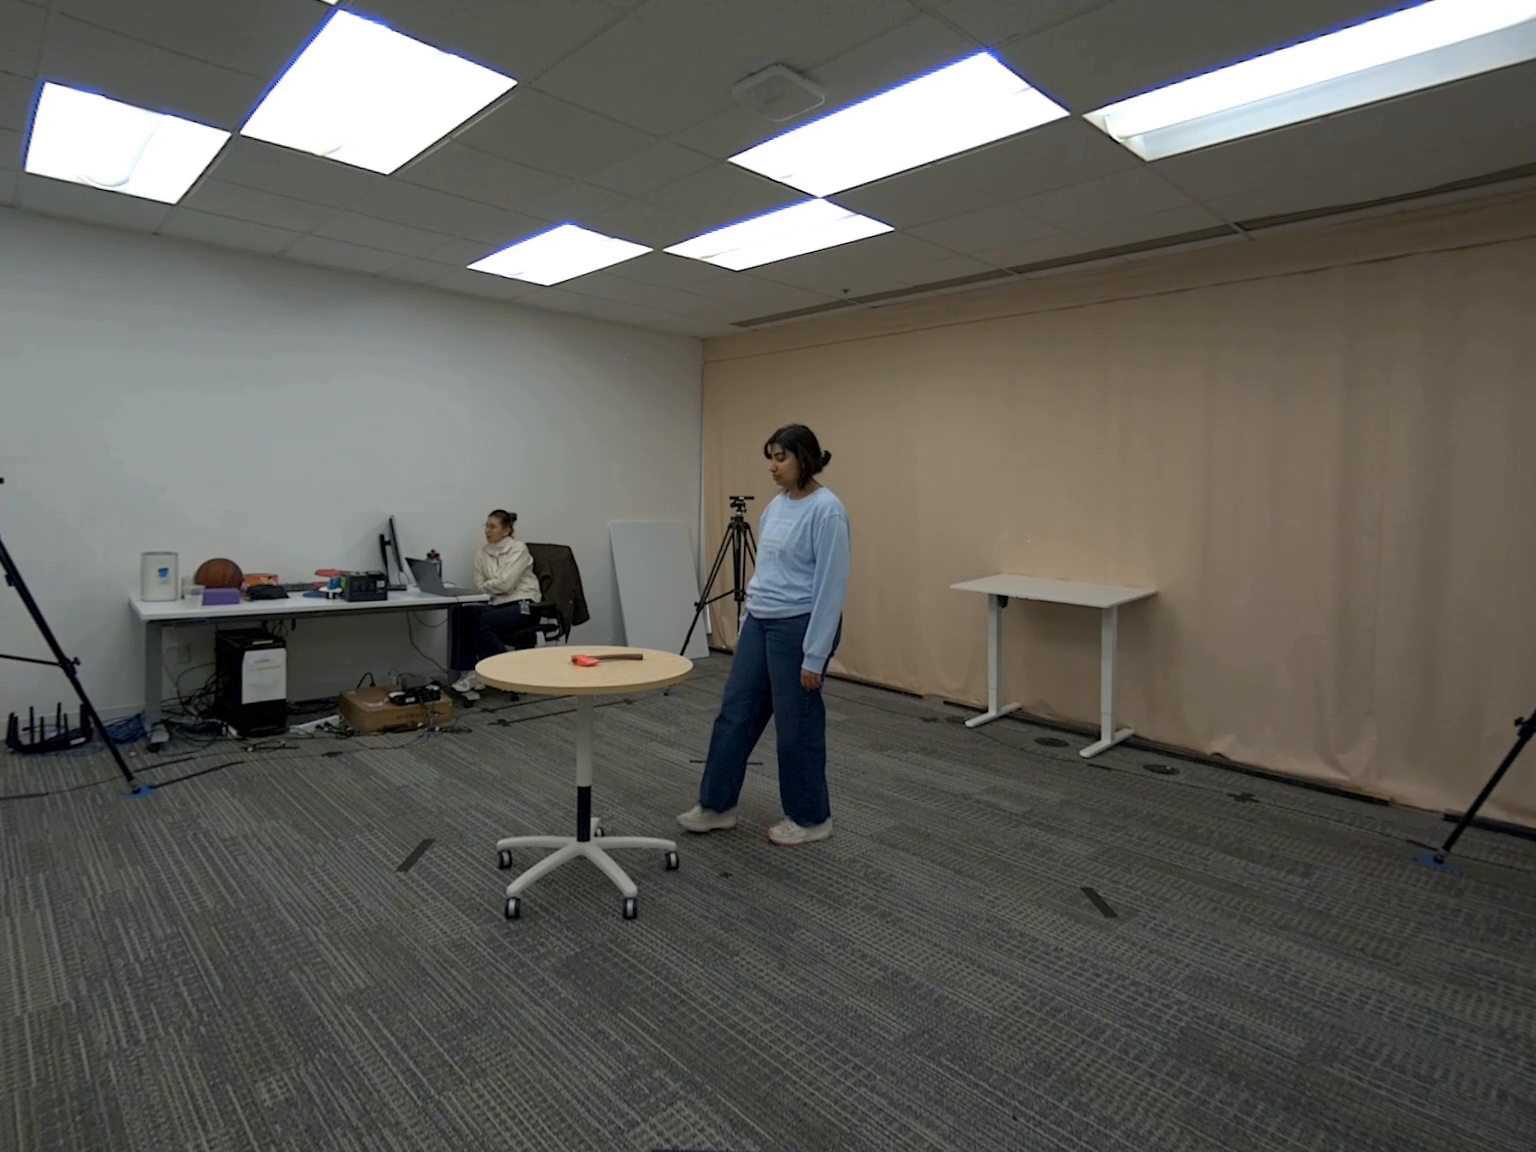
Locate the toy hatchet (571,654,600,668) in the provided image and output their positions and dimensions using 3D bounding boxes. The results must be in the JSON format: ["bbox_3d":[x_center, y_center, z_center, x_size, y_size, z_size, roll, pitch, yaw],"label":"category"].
[{"bbox_3d":[-0.585,0.304,3.042,0.266,0.029,0.133,0,4,-18],"label":"toy hatchet"}]
